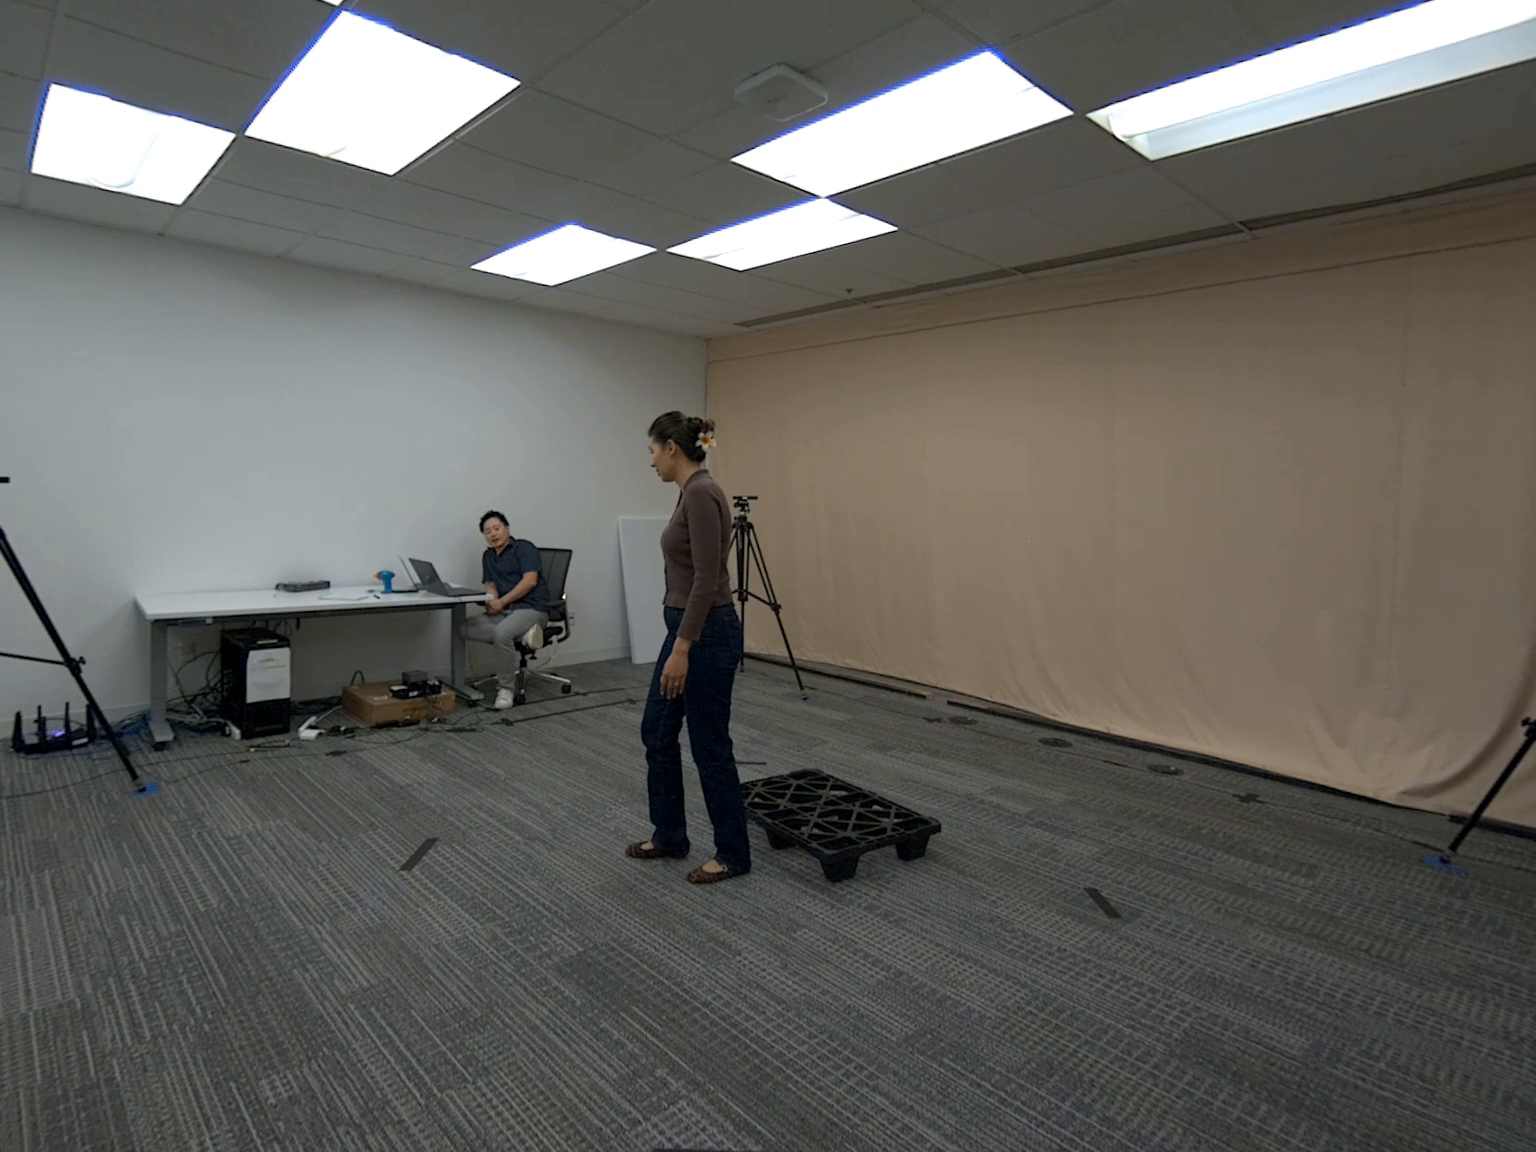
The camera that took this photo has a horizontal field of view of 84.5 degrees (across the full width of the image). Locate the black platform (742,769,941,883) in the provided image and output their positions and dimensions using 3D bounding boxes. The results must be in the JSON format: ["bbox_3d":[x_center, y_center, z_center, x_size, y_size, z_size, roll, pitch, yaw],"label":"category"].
[{"bbox_3d":[0.206,1.013,3.476,0.592,0.143,0.825,-3,6,-36],"label":"black platform"}]
